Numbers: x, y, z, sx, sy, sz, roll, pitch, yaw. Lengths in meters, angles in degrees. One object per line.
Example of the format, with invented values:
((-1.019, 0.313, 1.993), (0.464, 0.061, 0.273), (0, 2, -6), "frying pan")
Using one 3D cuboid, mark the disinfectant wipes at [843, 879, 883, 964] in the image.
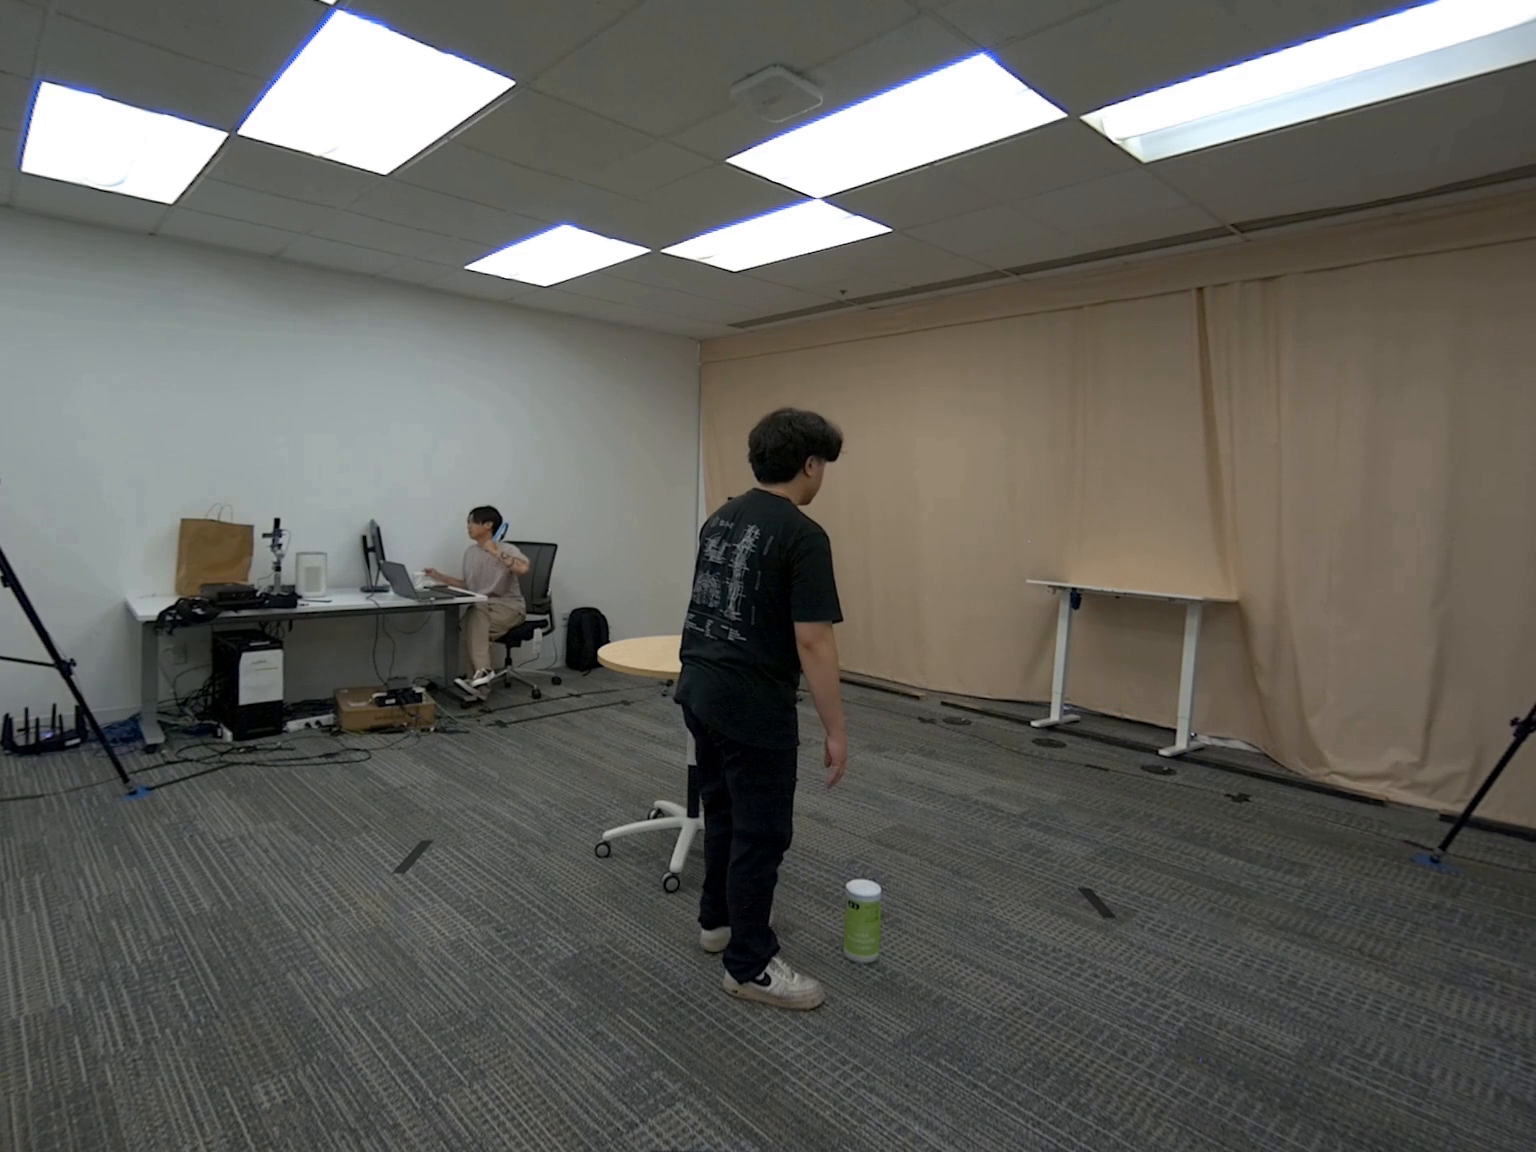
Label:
((0.286, 1.048, 2.589), (0.118, 0.217, 0.118), (2, 4, -2), "disinfectant wipes")
